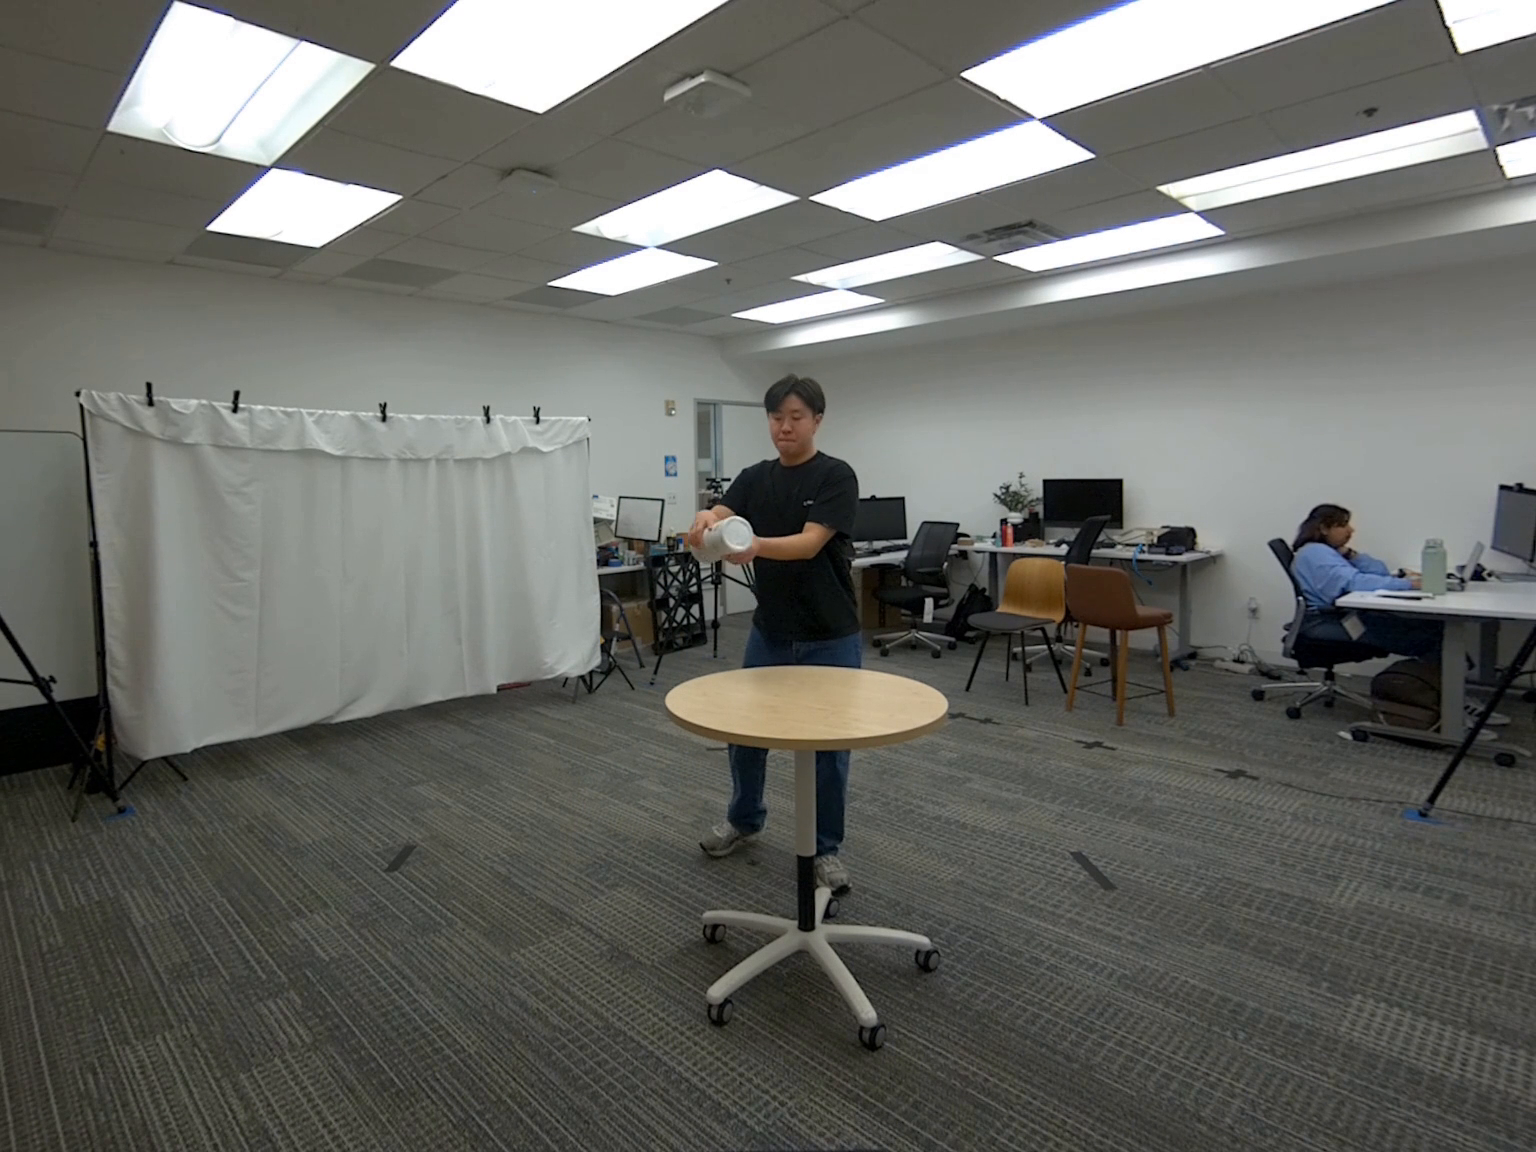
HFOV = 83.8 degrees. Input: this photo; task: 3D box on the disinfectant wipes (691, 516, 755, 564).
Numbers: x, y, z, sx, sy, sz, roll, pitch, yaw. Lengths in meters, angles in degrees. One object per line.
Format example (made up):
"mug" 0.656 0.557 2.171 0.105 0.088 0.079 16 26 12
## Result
"disinfectant wipes" -0.149 -0.105 2.594 0.115 0.119 0.221 -4 -9 -32
